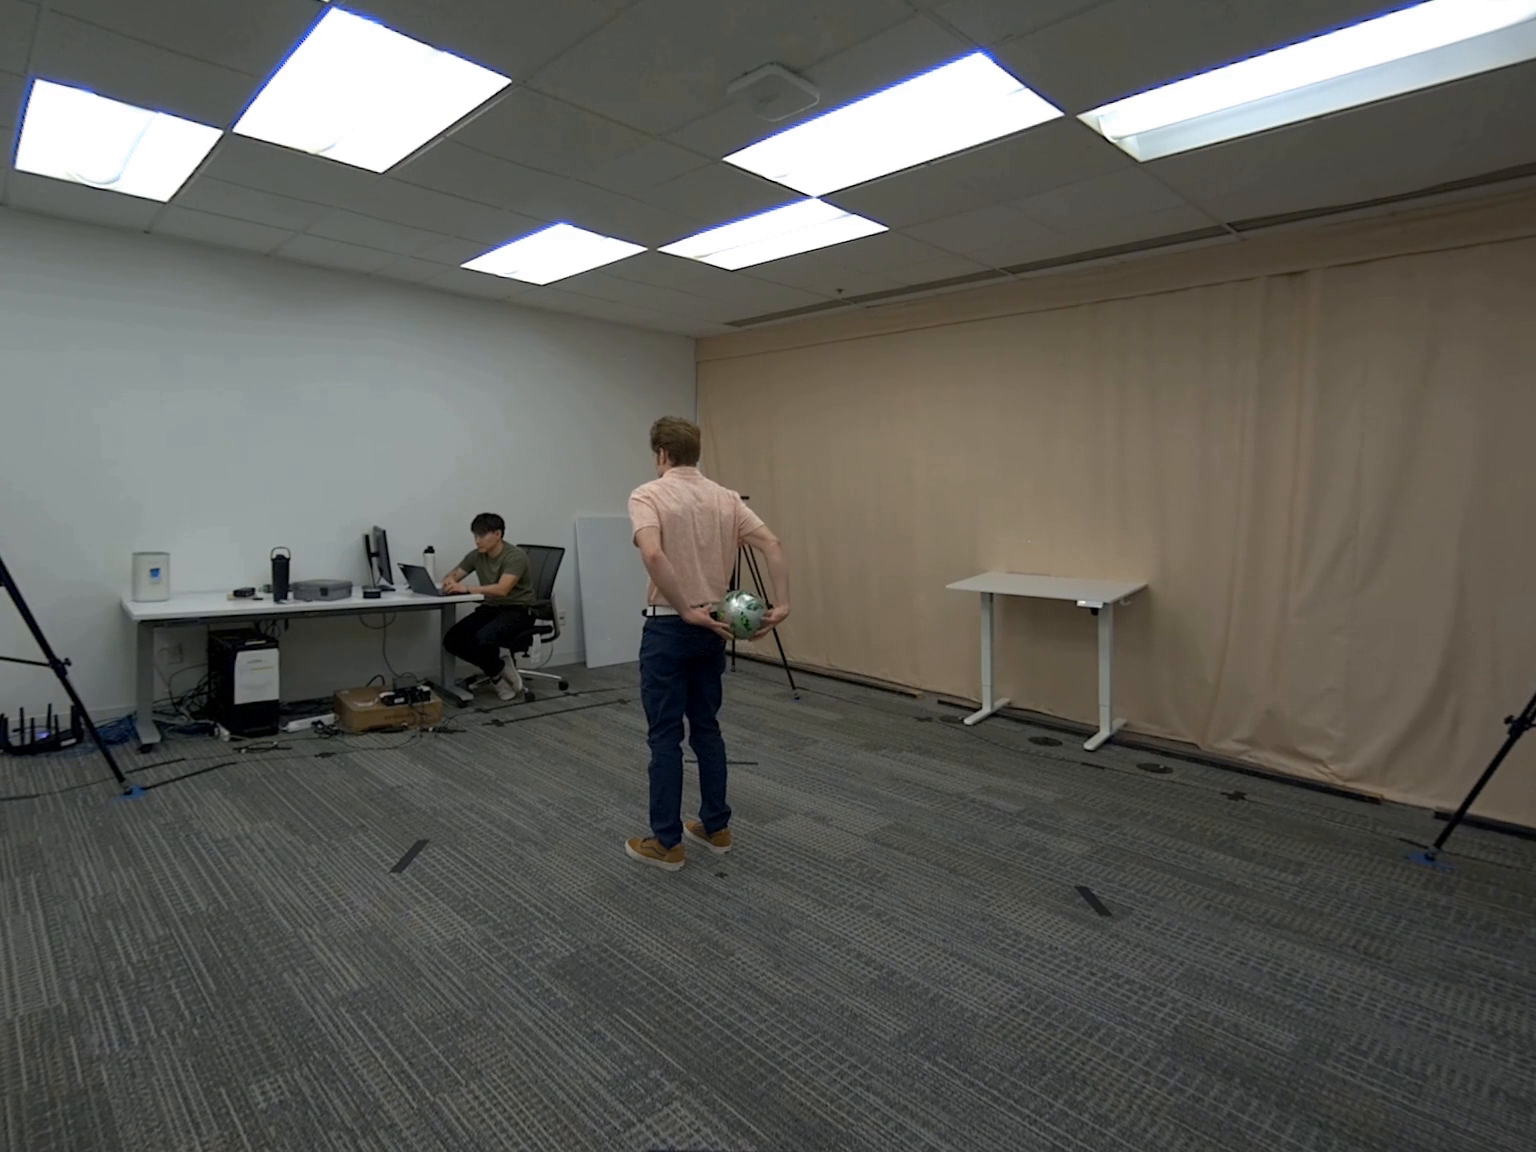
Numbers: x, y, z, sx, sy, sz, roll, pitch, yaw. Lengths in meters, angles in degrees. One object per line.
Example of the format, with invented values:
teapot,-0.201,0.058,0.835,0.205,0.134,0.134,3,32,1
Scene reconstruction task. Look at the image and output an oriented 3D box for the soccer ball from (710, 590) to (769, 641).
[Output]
soccer ball,-0.115,0.147,3.119,0.187,0.187,0.188,1,4,-1
